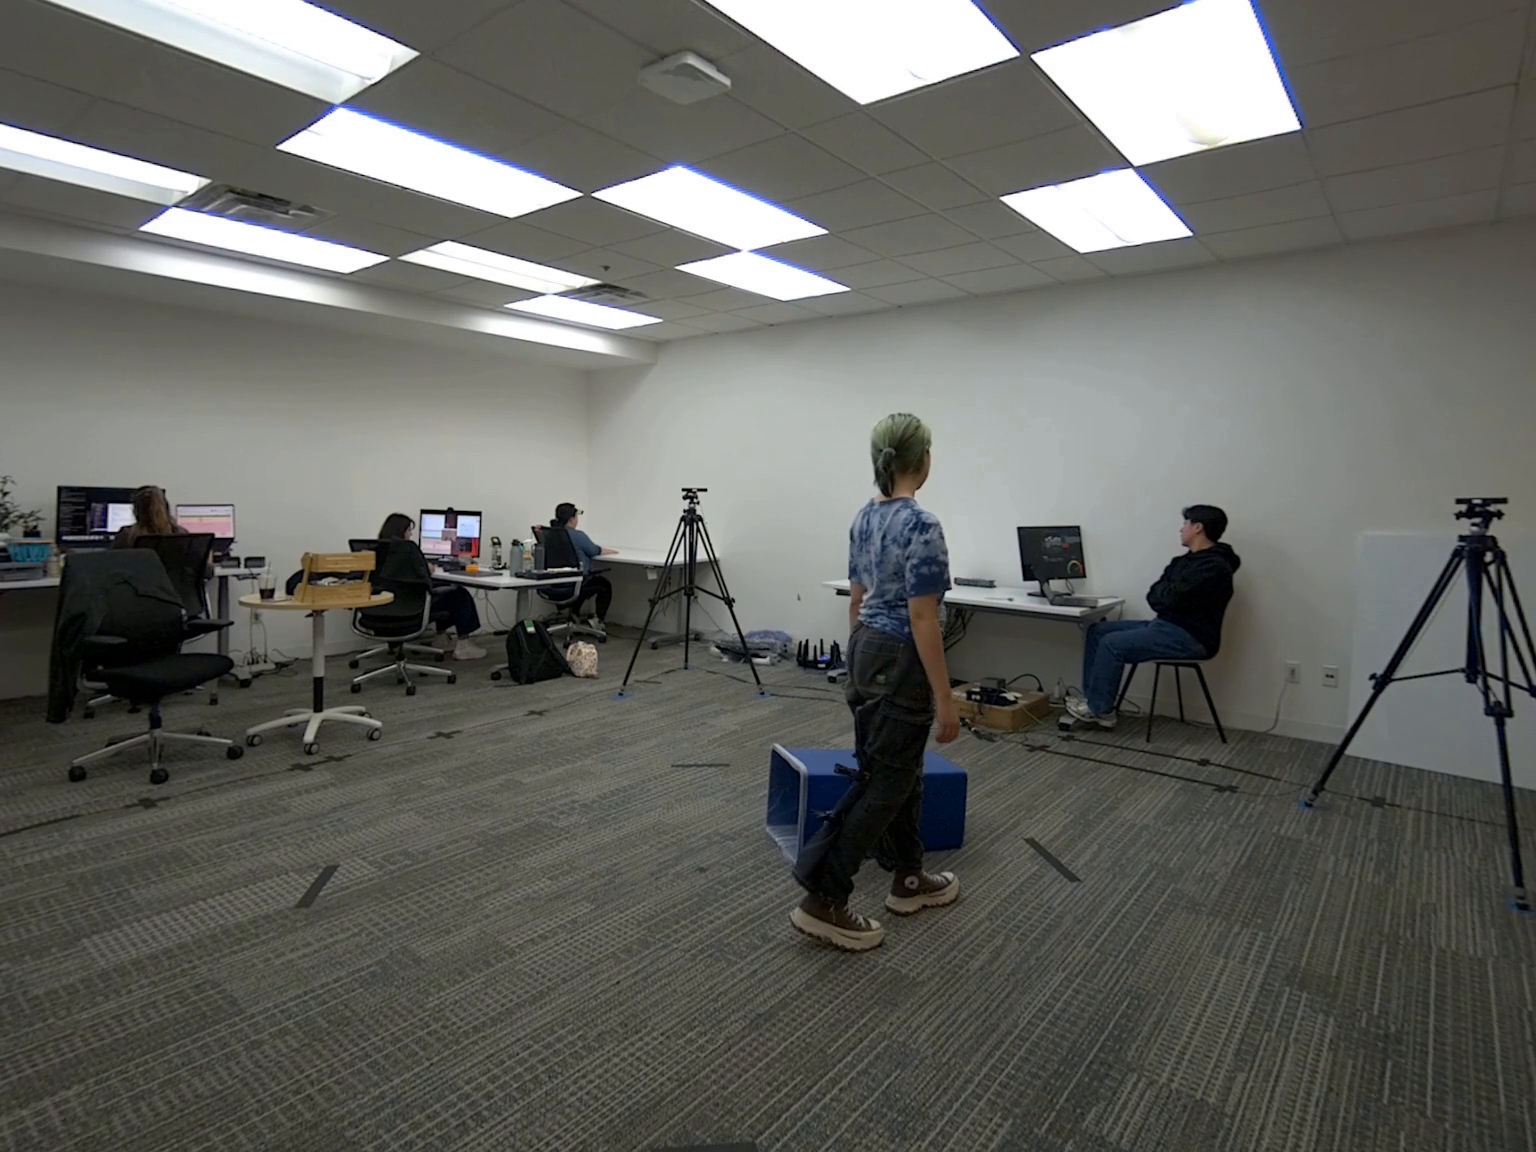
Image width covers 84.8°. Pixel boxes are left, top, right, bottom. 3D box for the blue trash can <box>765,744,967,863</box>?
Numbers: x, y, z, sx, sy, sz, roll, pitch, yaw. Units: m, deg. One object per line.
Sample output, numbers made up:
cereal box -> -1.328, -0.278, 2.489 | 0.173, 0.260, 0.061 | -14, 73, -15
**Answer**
blue trash can -> 0.382, 0.879, 3.389 | 0.701, 0.373, 0.386 | 2, 3, -17
